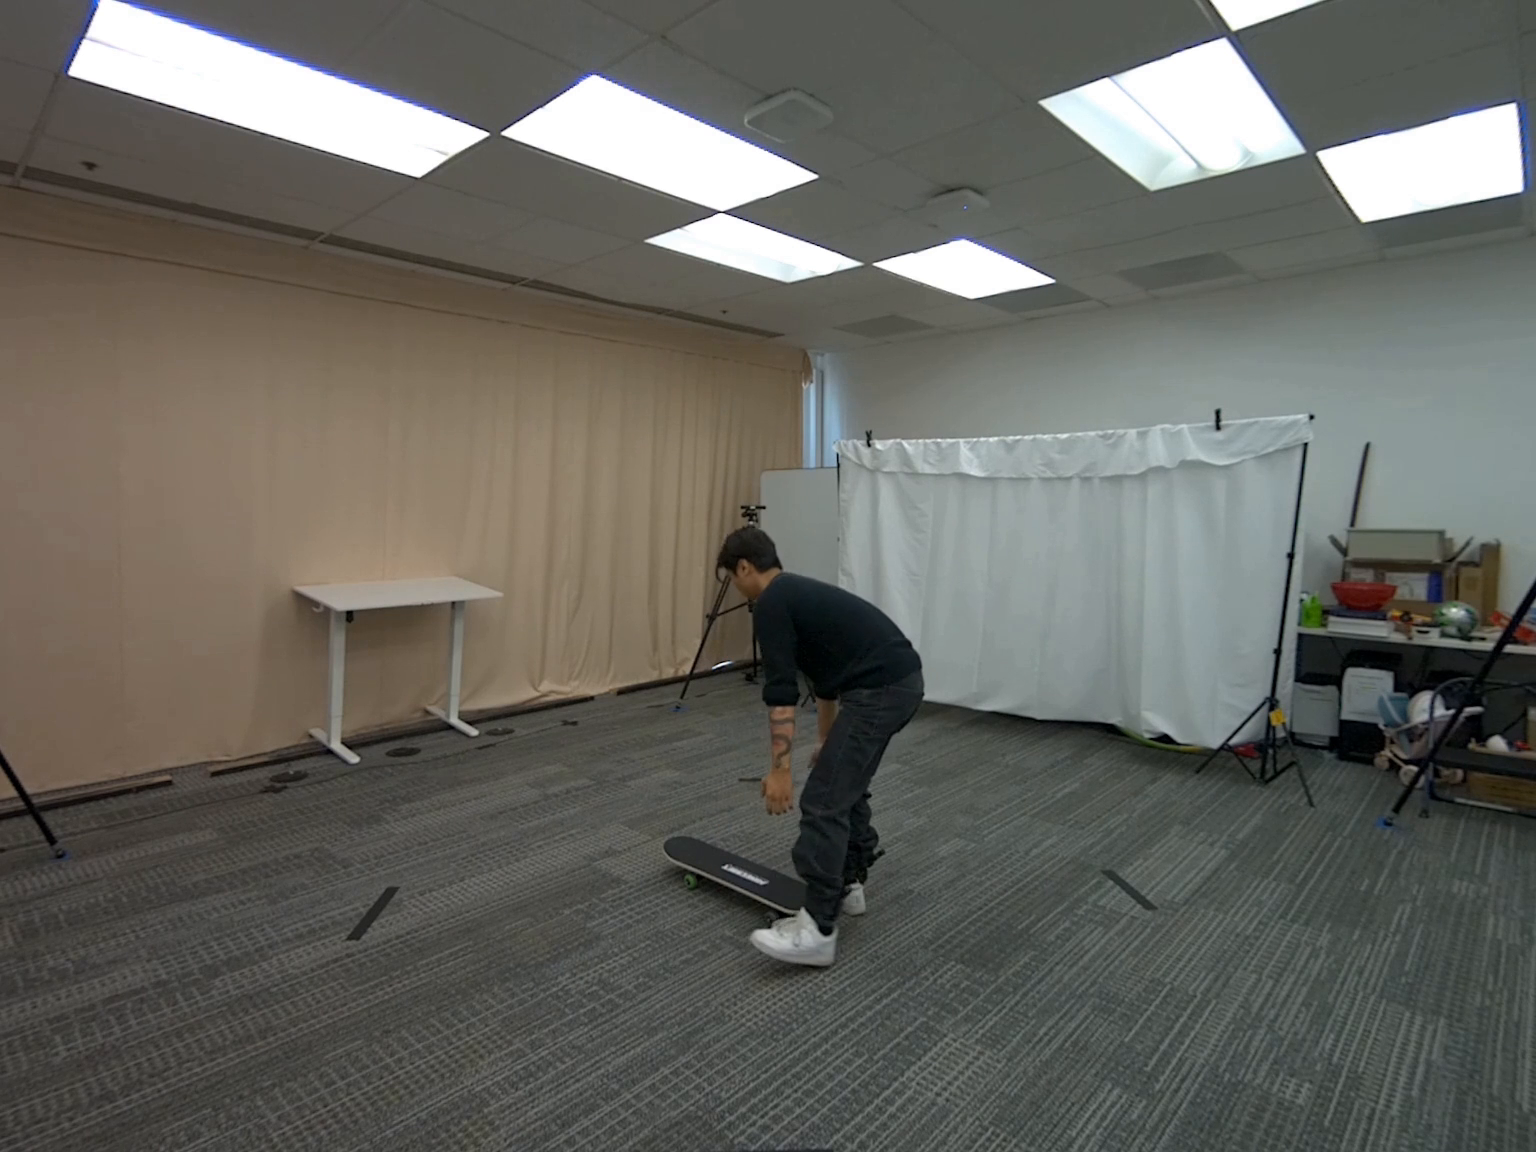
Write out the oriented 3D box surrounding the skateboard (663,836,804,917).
[{"bbox_3d":[-0.080,1.087,2.983,0.812,0.110,0.187,4,6,43],"label":"skateboard"}]
